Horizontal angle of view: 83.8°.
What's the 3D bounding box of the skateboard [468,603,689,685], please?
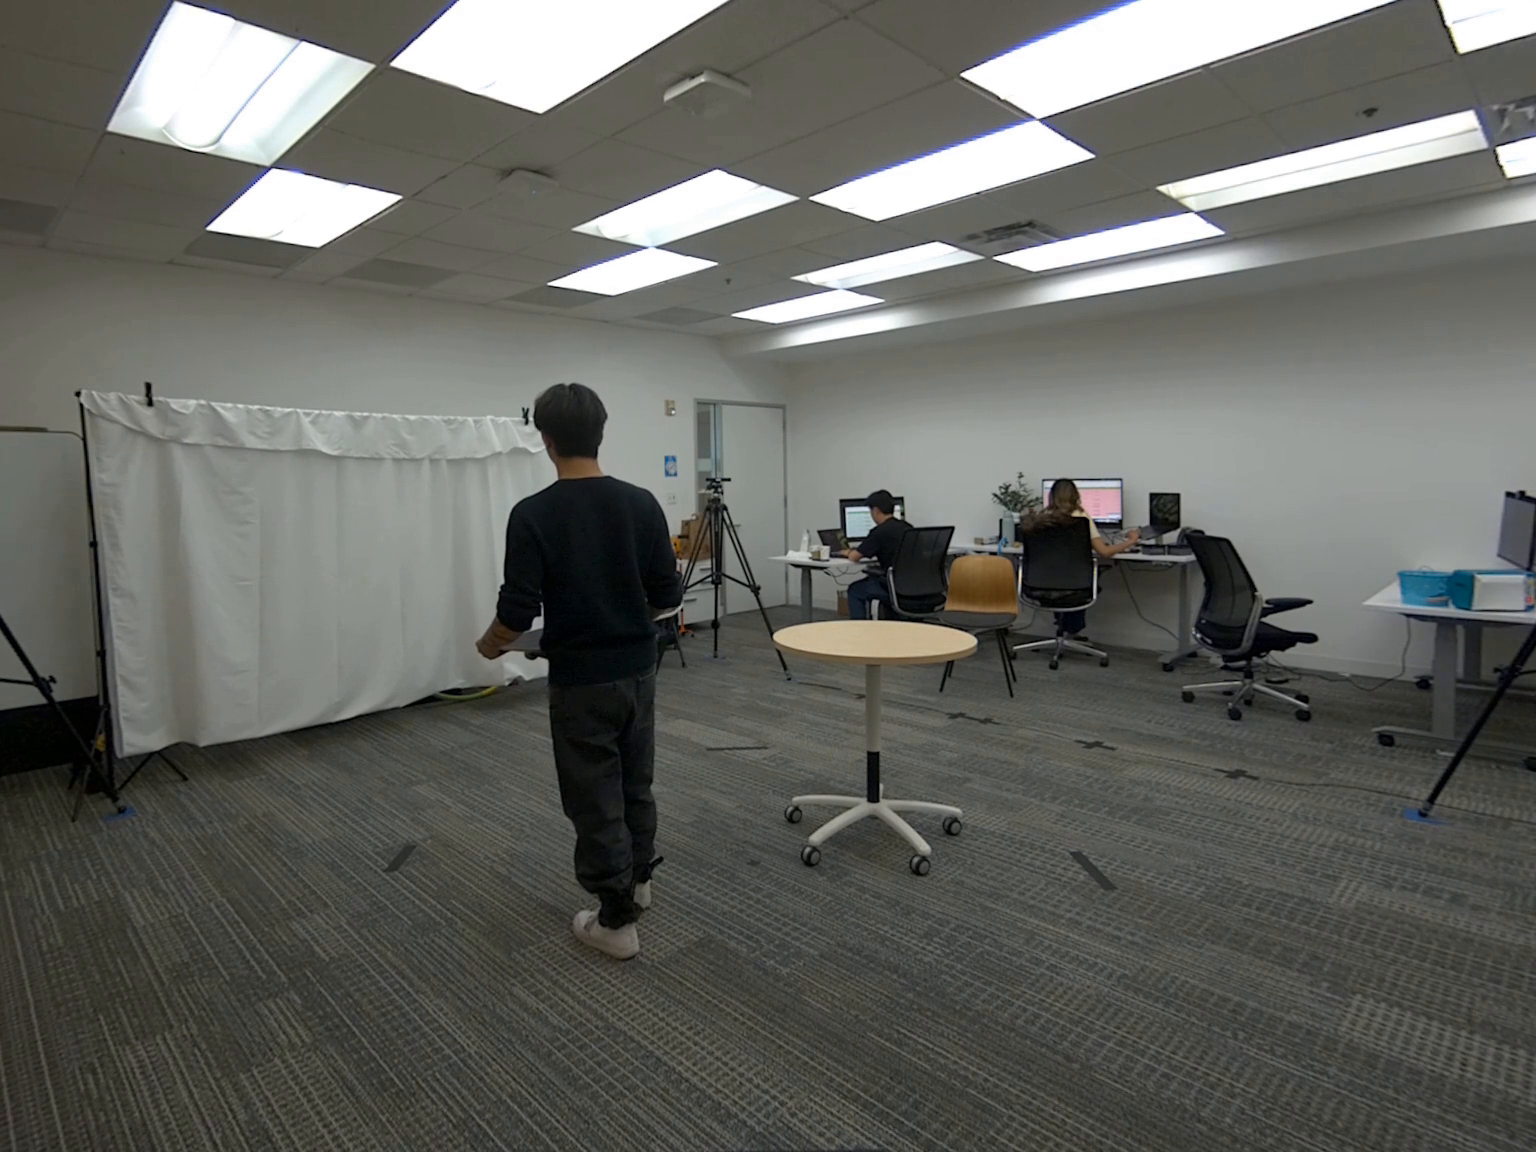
[{"bbox_3d":[-0.604,0.199,2.862,0.199,0.109,0.767,7,12,38],"label":"skateboard"}]
